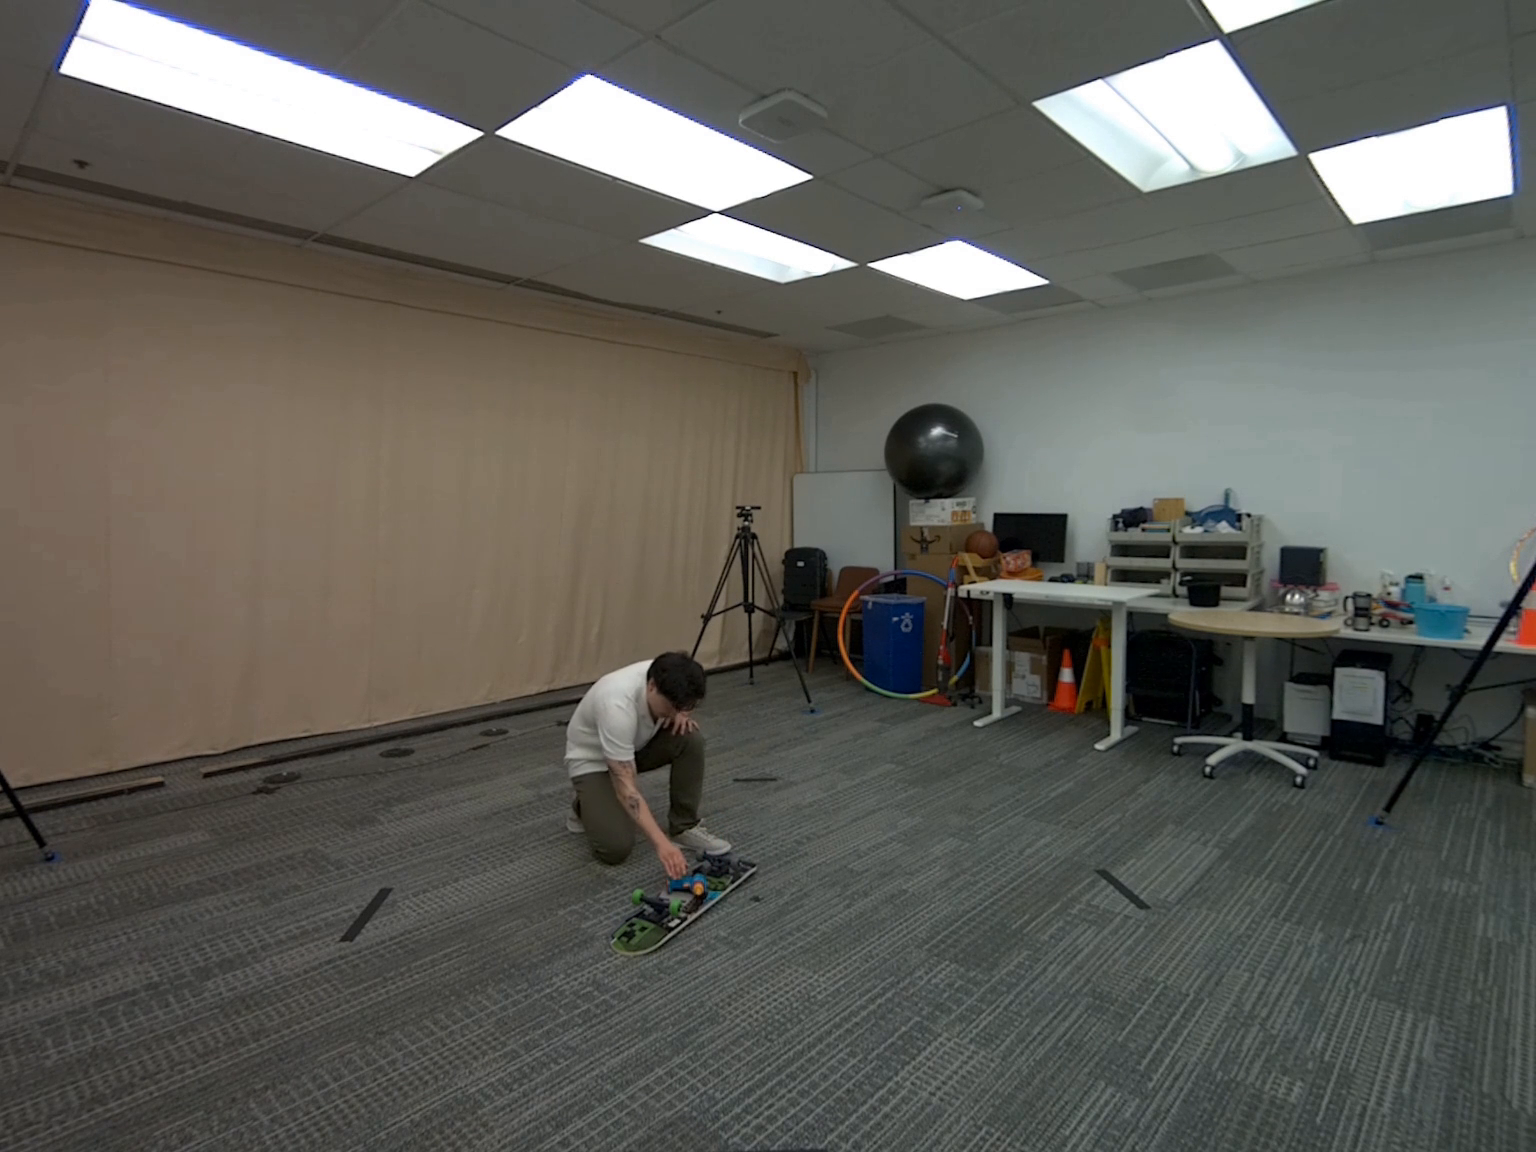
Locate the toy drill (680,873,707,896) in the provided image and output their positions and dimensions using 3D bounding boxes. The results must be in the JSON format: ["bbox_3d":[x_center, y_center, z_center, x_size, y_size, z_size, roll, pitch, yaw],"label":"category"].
[{"bbox_3d":[-0.280,1.087,2.944,0.146,0.061,0.169,-1,-3,-1],"label":"toy drill"}]
